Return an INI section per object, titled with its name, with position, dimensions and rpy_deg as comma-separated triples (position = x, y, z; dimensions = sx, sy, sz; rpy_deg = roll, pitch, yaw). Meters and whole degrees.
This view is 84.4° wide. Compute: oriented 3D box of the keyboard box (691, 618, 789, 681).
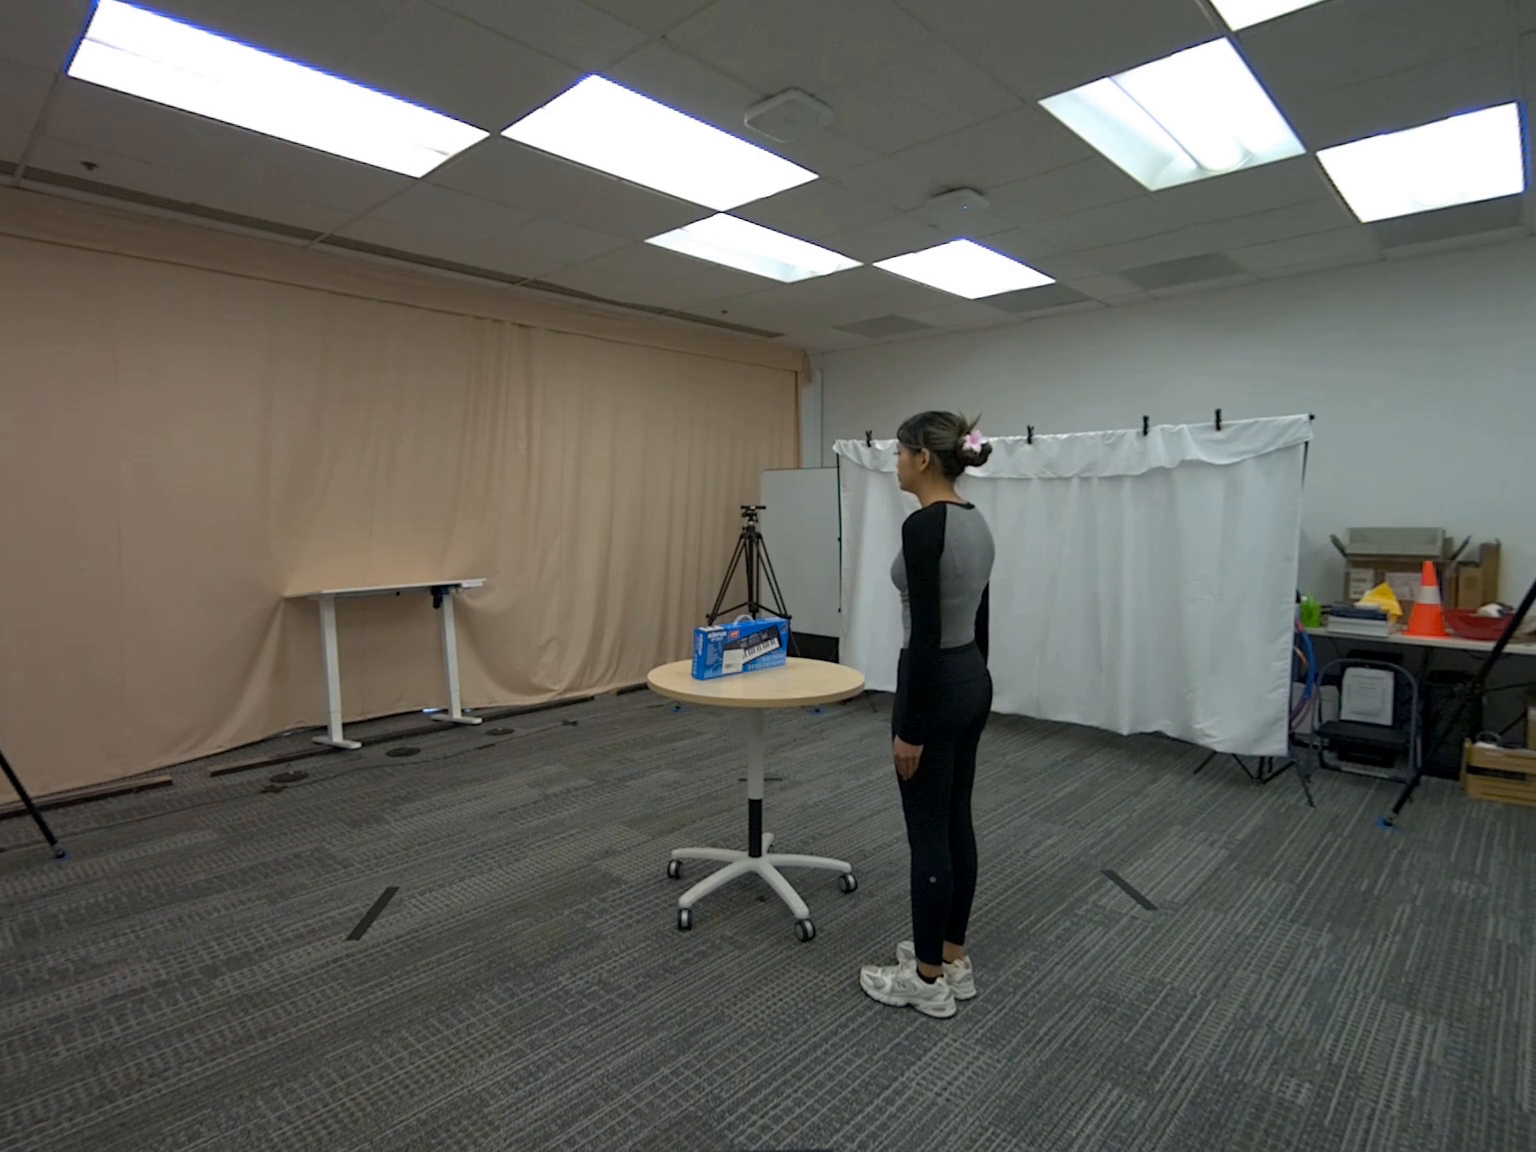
[keyboard box]
position = -0.092, 0.260, 3.043
dimensions = 0.061, 0.175, 0.423
rpy_deg = 10, 10, 43
